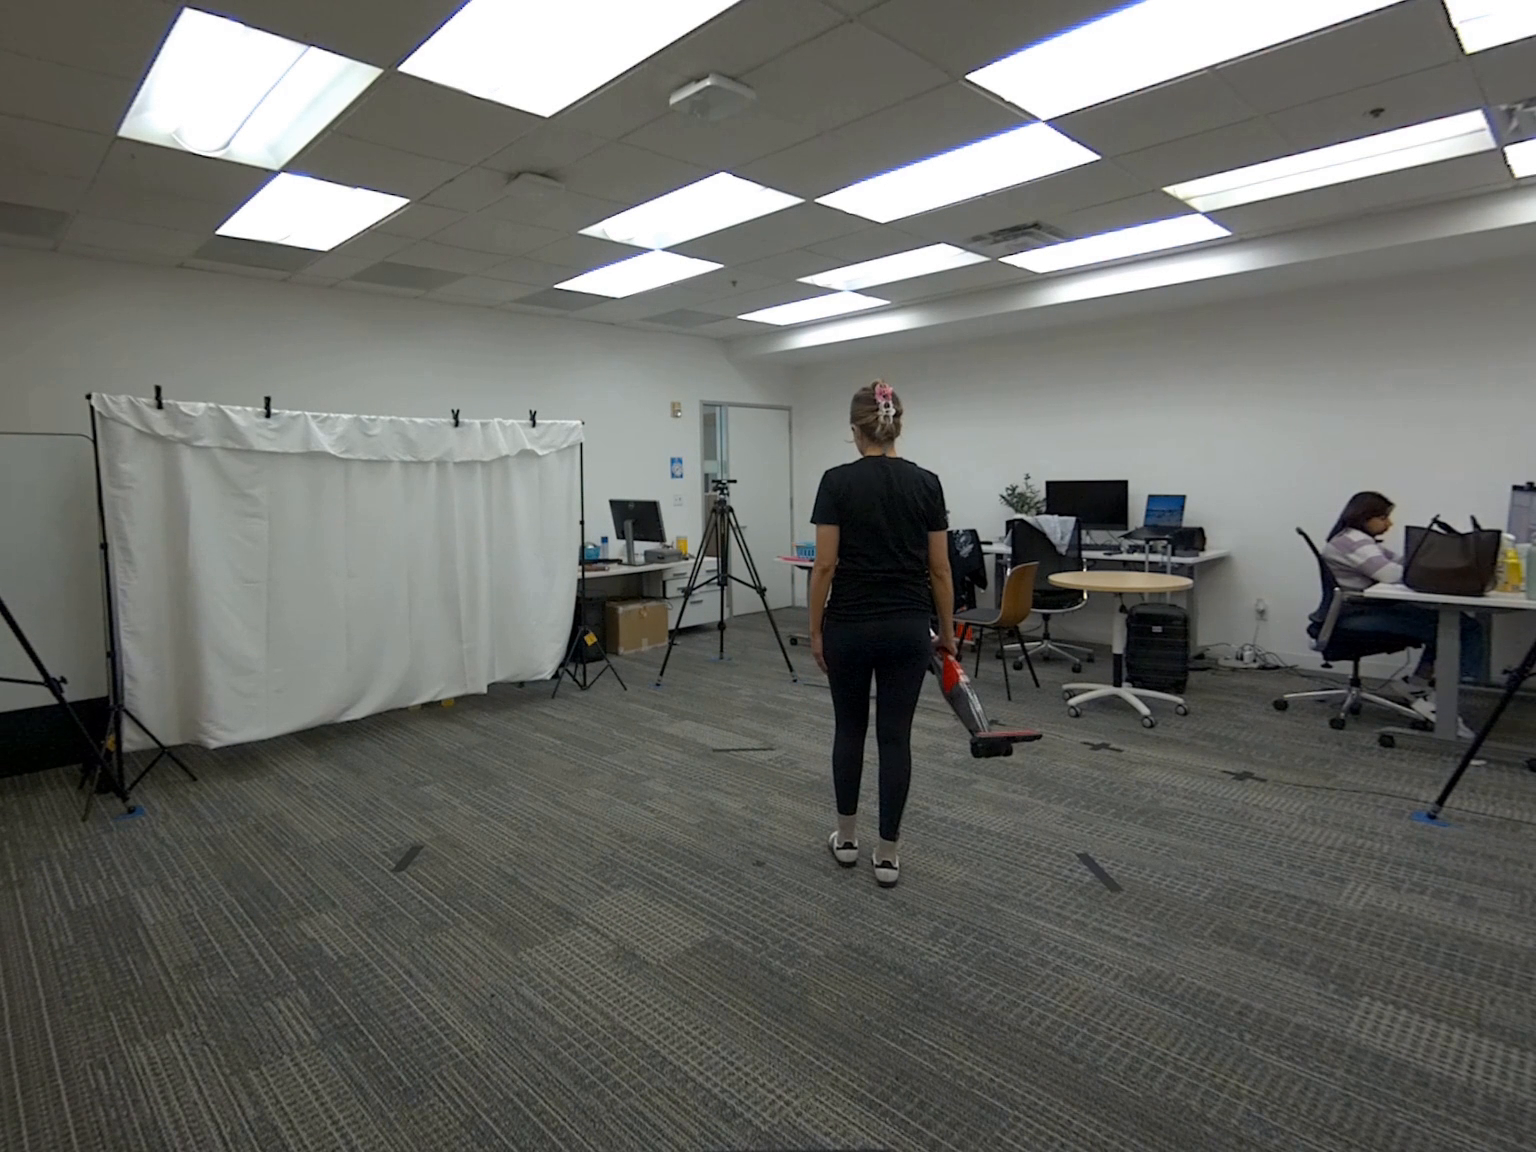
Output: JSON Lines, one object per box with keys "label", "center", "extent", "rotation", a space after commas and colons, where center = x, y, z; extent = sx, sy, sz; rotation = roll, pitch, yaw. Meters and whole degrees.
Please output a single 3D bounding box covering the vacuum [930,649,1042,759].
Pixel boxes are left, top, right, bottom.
{"label": "vacuum", "center": [0.622, 0.277, 3.192], "extent": [0.248, 0.141, 1.088], "rotation": [1, 33, -21]}
